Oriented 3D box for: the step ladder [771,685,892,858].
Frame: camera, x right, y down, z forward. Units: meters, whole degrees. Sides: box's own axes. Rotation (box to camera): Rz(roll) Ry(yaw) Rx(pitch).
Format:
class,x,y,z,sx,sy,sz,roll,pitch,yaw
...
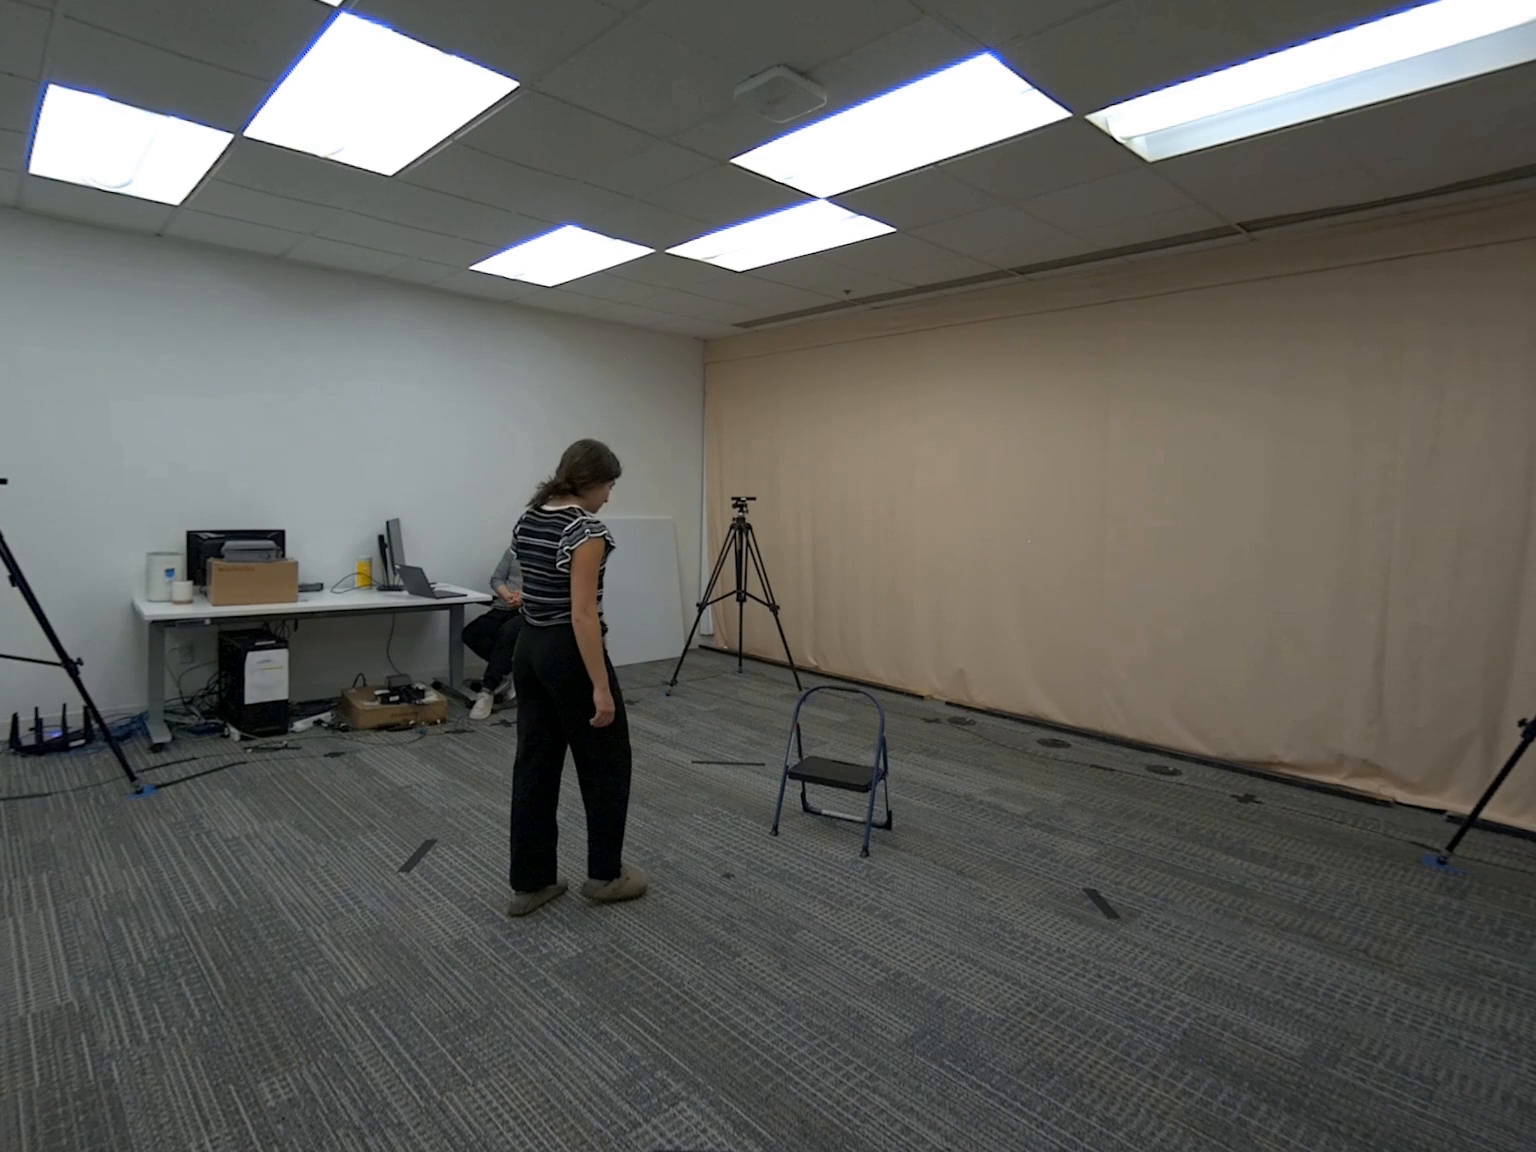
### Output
class,x,y,z,sx,sy,sz,roll,pitch,yaw
step ladder,0.275,0.778,3.532,0.439,0.604,0.343,4,4,27
